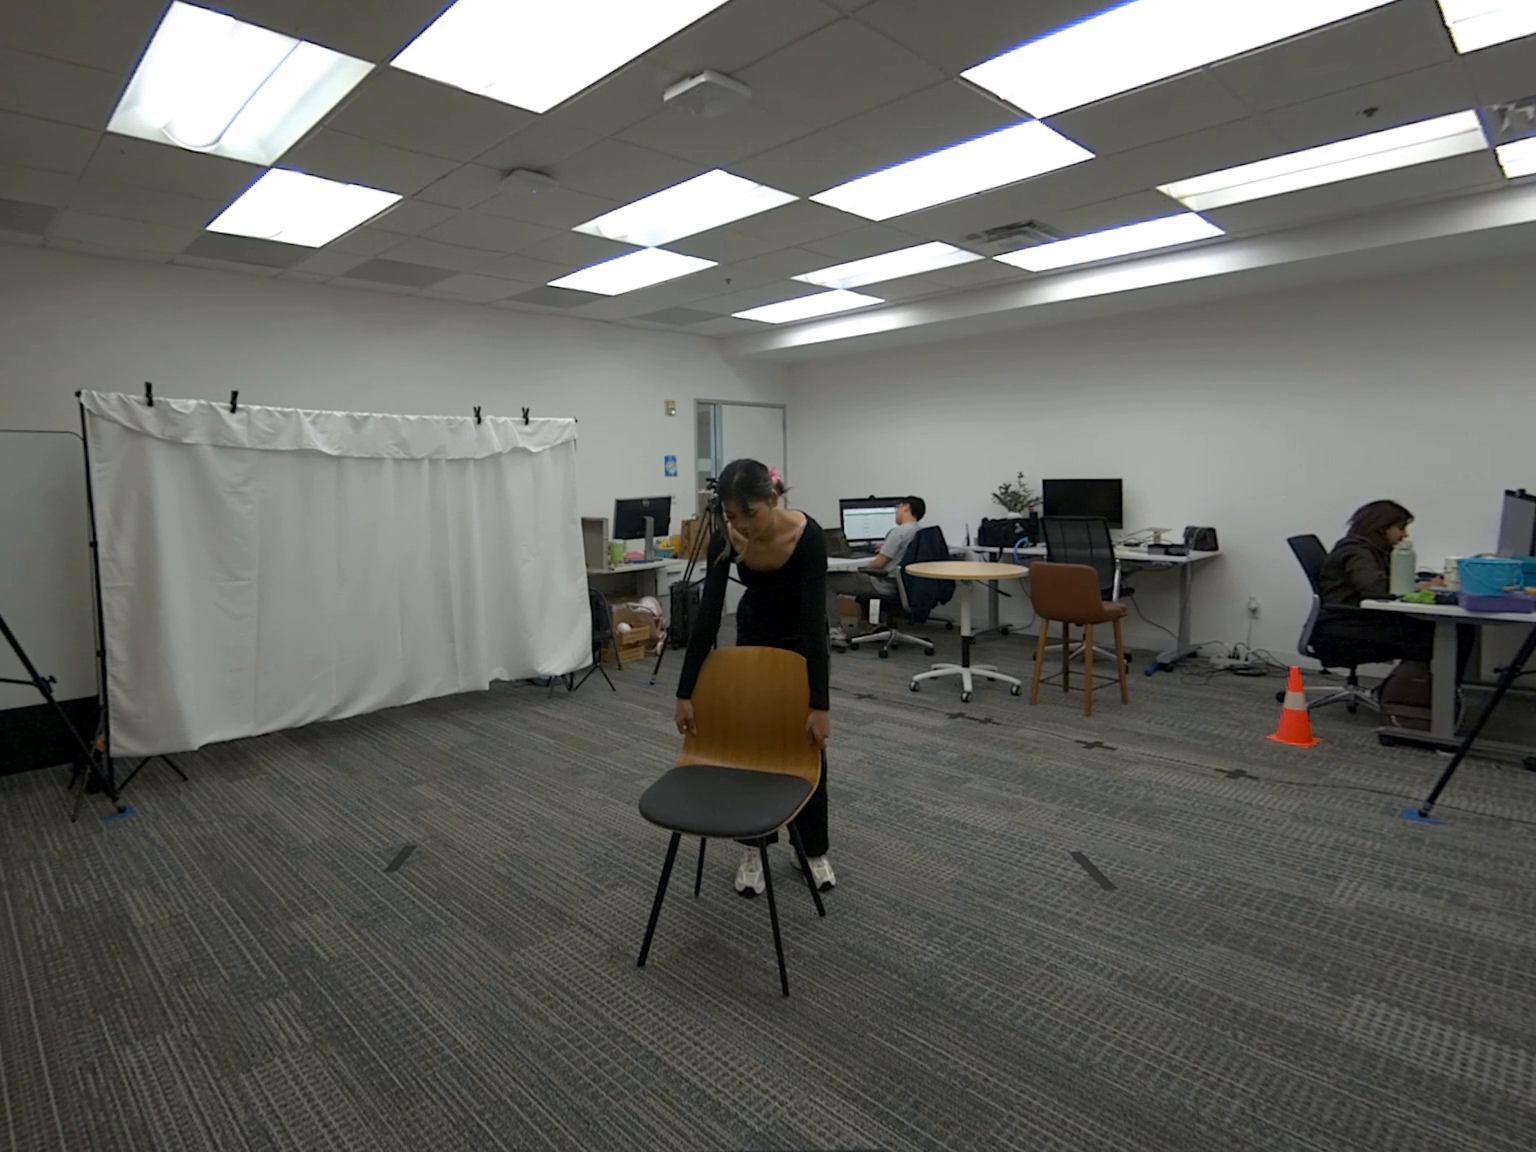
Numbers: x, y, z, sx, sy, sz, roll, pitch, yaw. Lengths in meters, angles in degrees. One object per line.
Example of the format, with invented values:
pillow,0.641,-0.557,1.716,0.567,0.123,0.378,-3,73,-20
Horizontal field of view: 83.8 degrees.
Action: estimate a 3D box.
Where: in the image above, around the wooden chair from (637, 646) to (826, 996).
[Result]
wooden chair,-0.100,0.681,2.549,0.487,0.877,0.514,1,1,19
